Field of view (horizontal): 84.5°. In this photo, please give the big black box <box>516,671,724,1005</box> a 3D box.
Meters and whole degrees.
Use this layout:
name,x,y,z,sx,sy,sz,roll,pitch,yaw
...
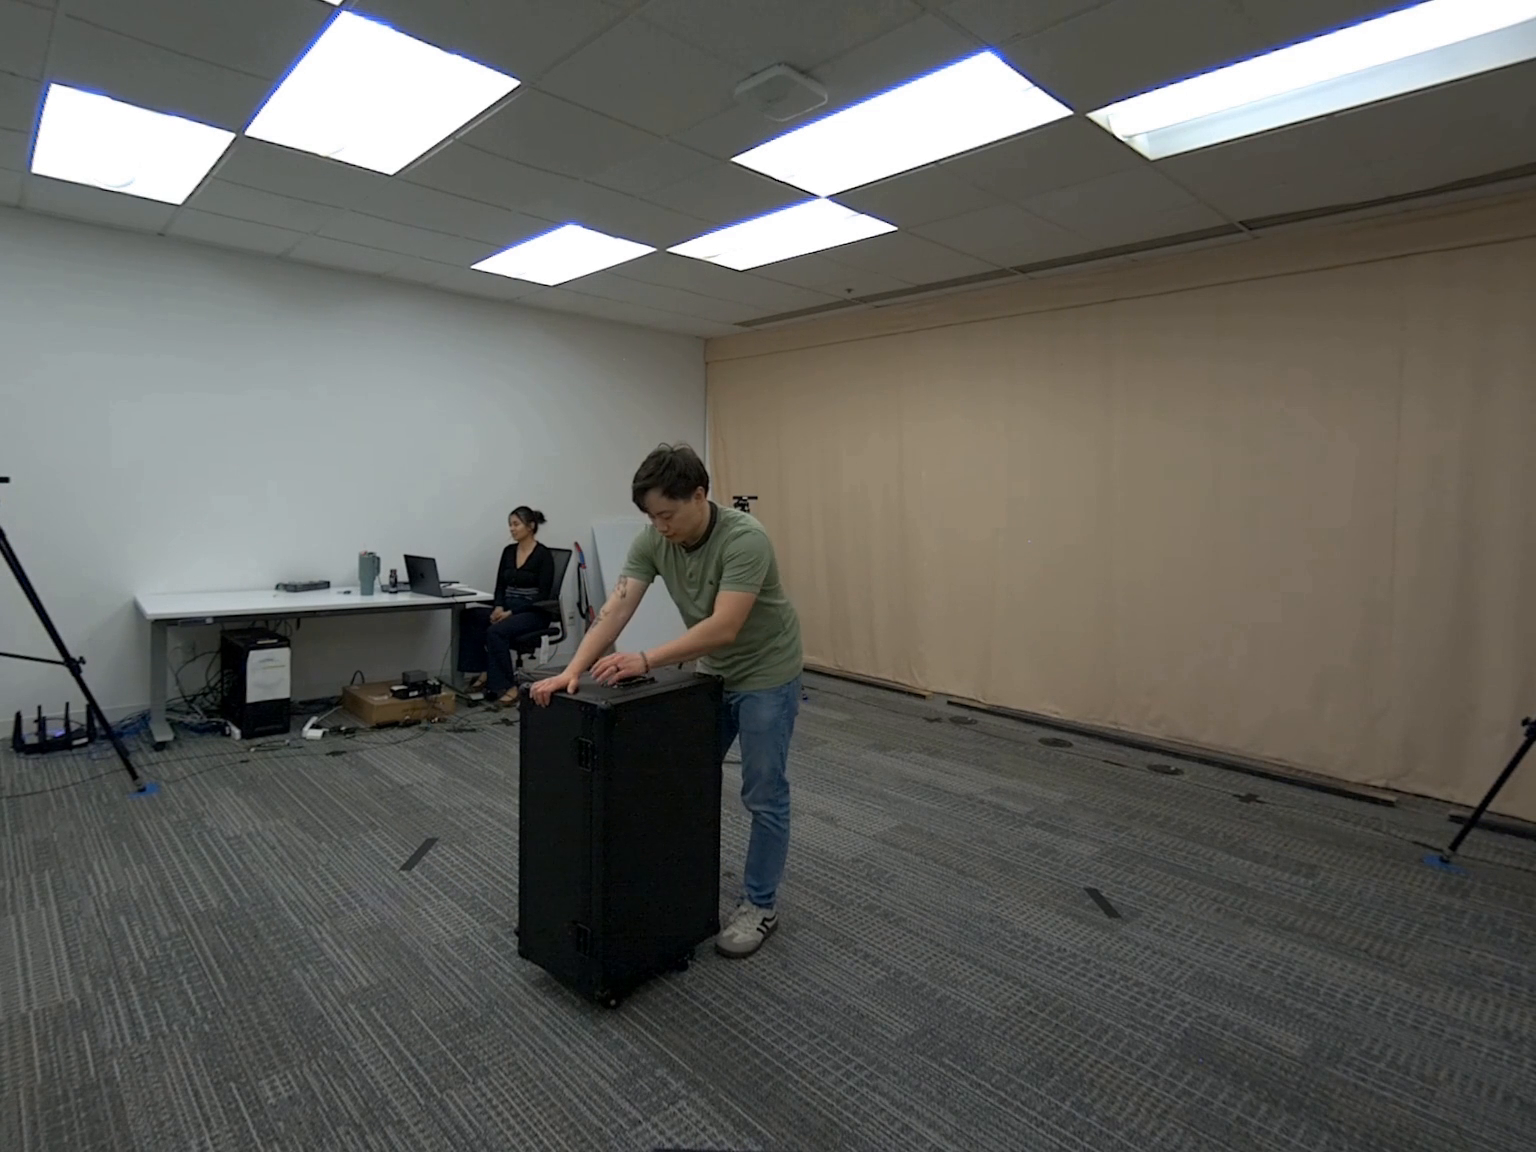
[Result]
name,x,y,z,sx,sy,sz,roll,pitch,yaw
big black box,-0.442,0.733,2.455,0.406,0.860,0.510,2,3,38
